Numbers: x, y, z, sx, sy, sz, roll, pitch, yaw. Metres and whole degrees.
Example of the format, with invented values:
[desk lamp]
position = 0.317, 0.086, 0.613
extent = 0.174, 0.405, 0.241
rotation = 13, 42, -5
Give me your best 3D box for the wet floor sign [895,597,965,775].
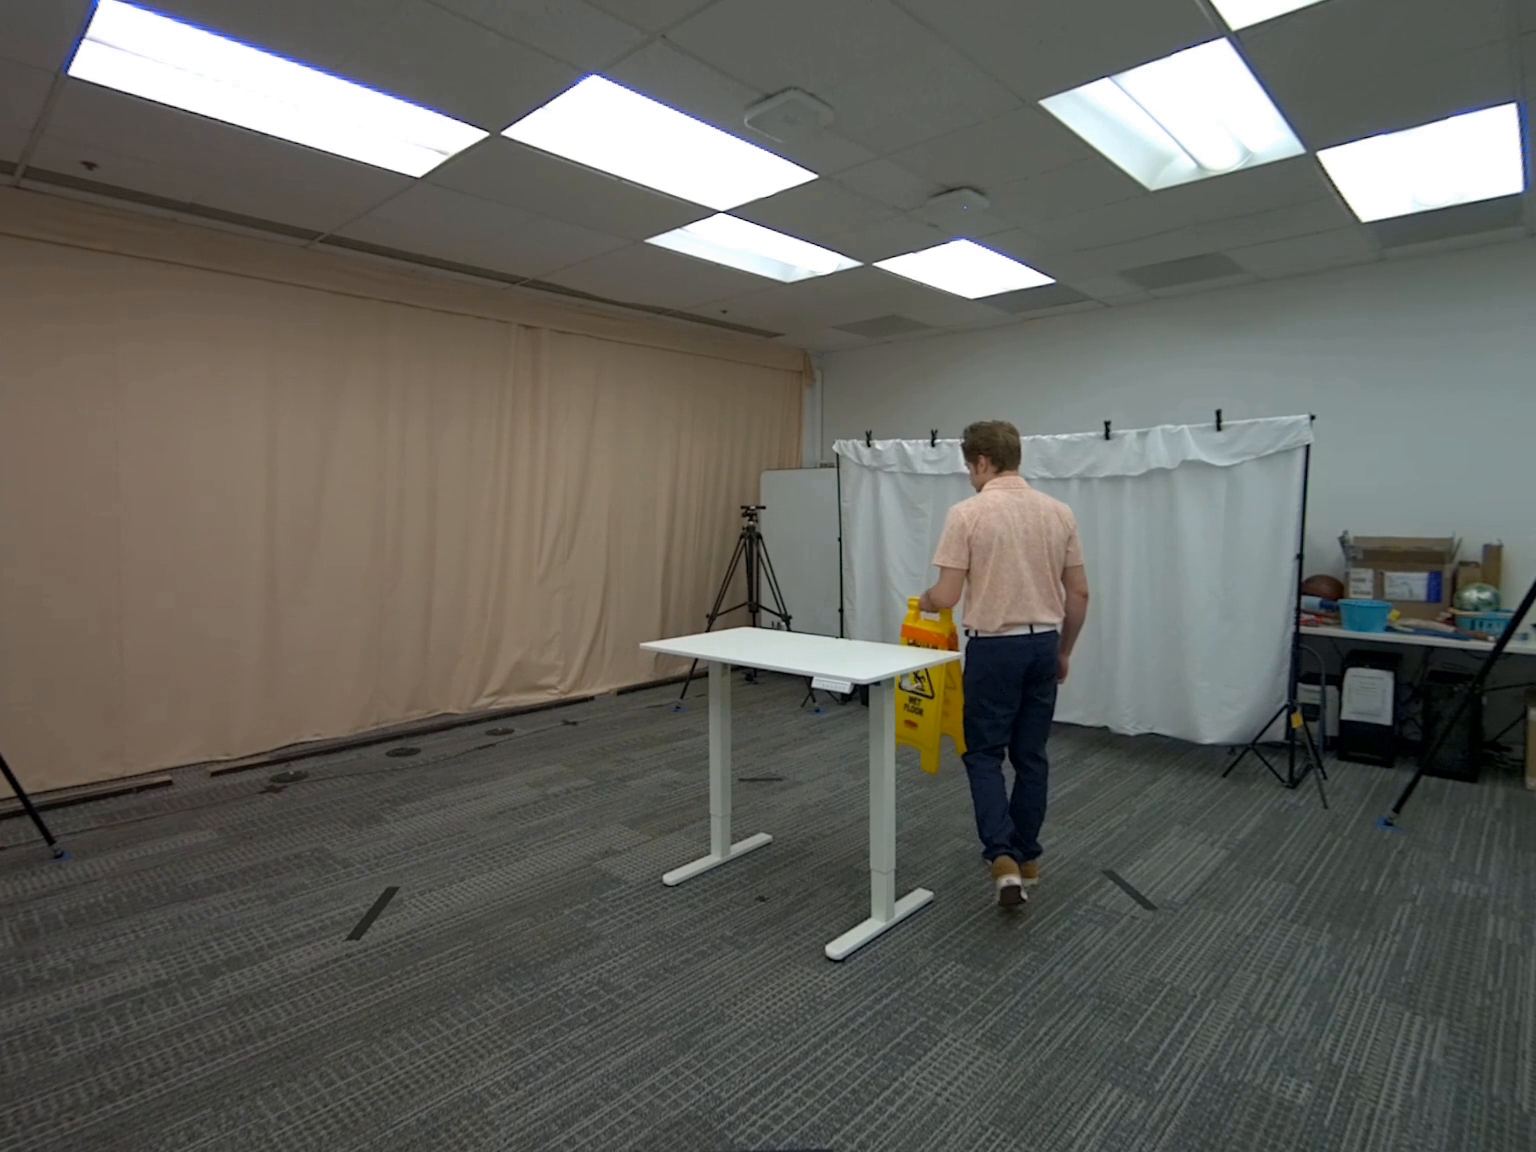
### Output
[wet floor sign]
position = 0.648, 0.412, 3.373
extent = 0.281, 0.642, 0.292
rotation = -7, 12, -40
